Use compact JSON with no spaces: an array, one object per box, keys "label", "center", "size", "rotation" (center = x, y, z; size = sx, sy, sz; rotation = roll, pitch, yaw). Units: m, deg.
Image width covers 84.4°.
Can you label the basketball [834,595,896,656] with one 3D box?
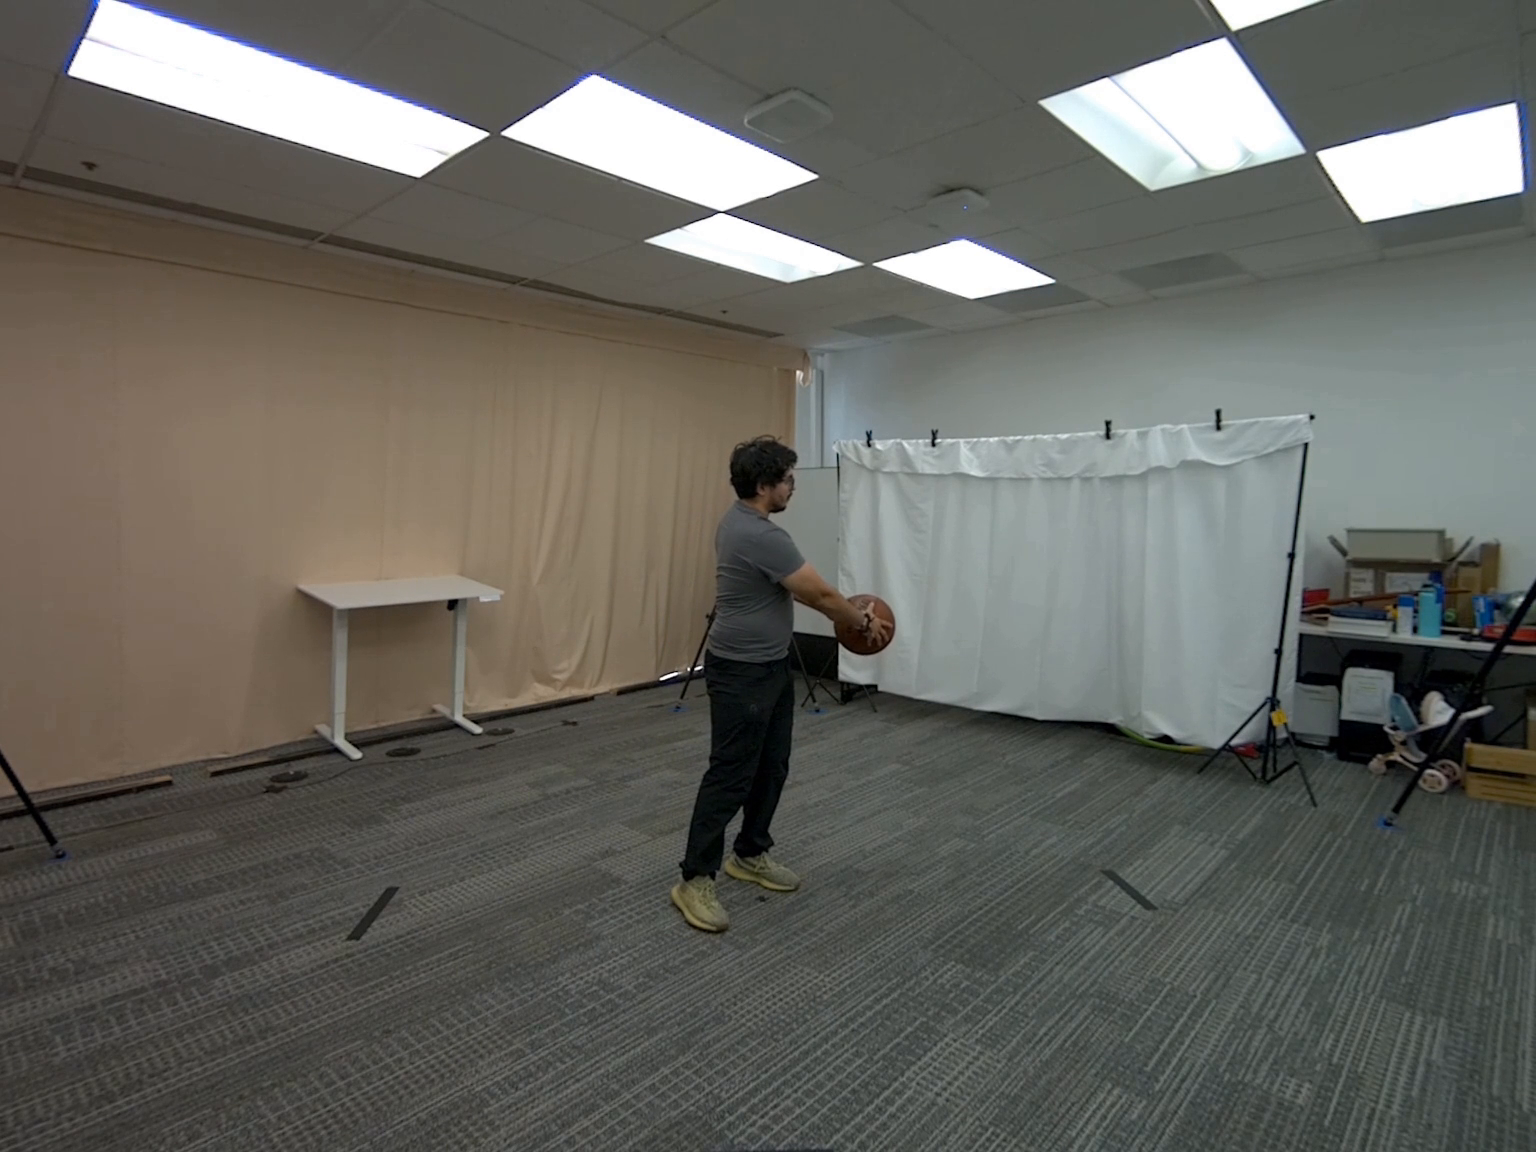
[{"label":"basketball","center":[0.388,0.191,3.290],"size":[0.236,0.235,0.237],"rotation":[0,4,-2]}]
